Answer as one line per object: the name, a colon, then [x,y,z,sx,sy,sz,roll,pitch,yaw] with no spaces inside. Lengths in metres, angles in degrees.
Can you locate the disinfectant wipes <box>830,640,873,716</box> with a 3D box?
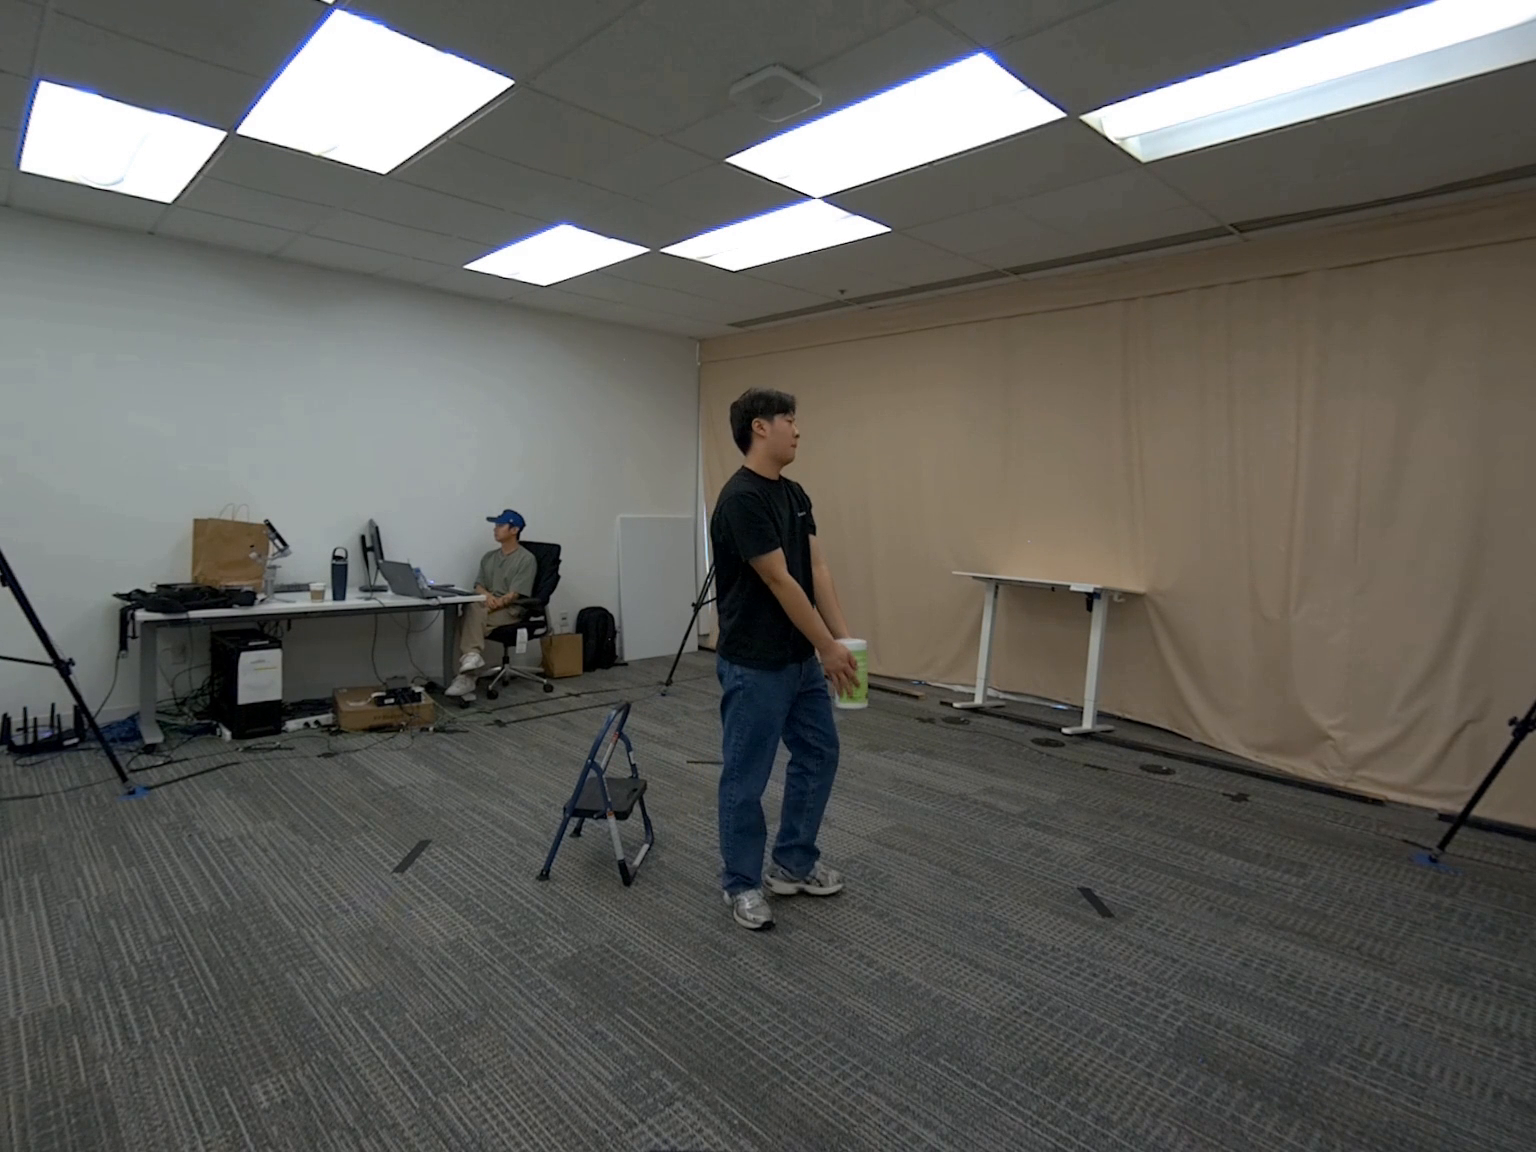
disinfectant wipes: [0.264,0.322,2.708,0.118,0.217,0.118,1,1,-1]
